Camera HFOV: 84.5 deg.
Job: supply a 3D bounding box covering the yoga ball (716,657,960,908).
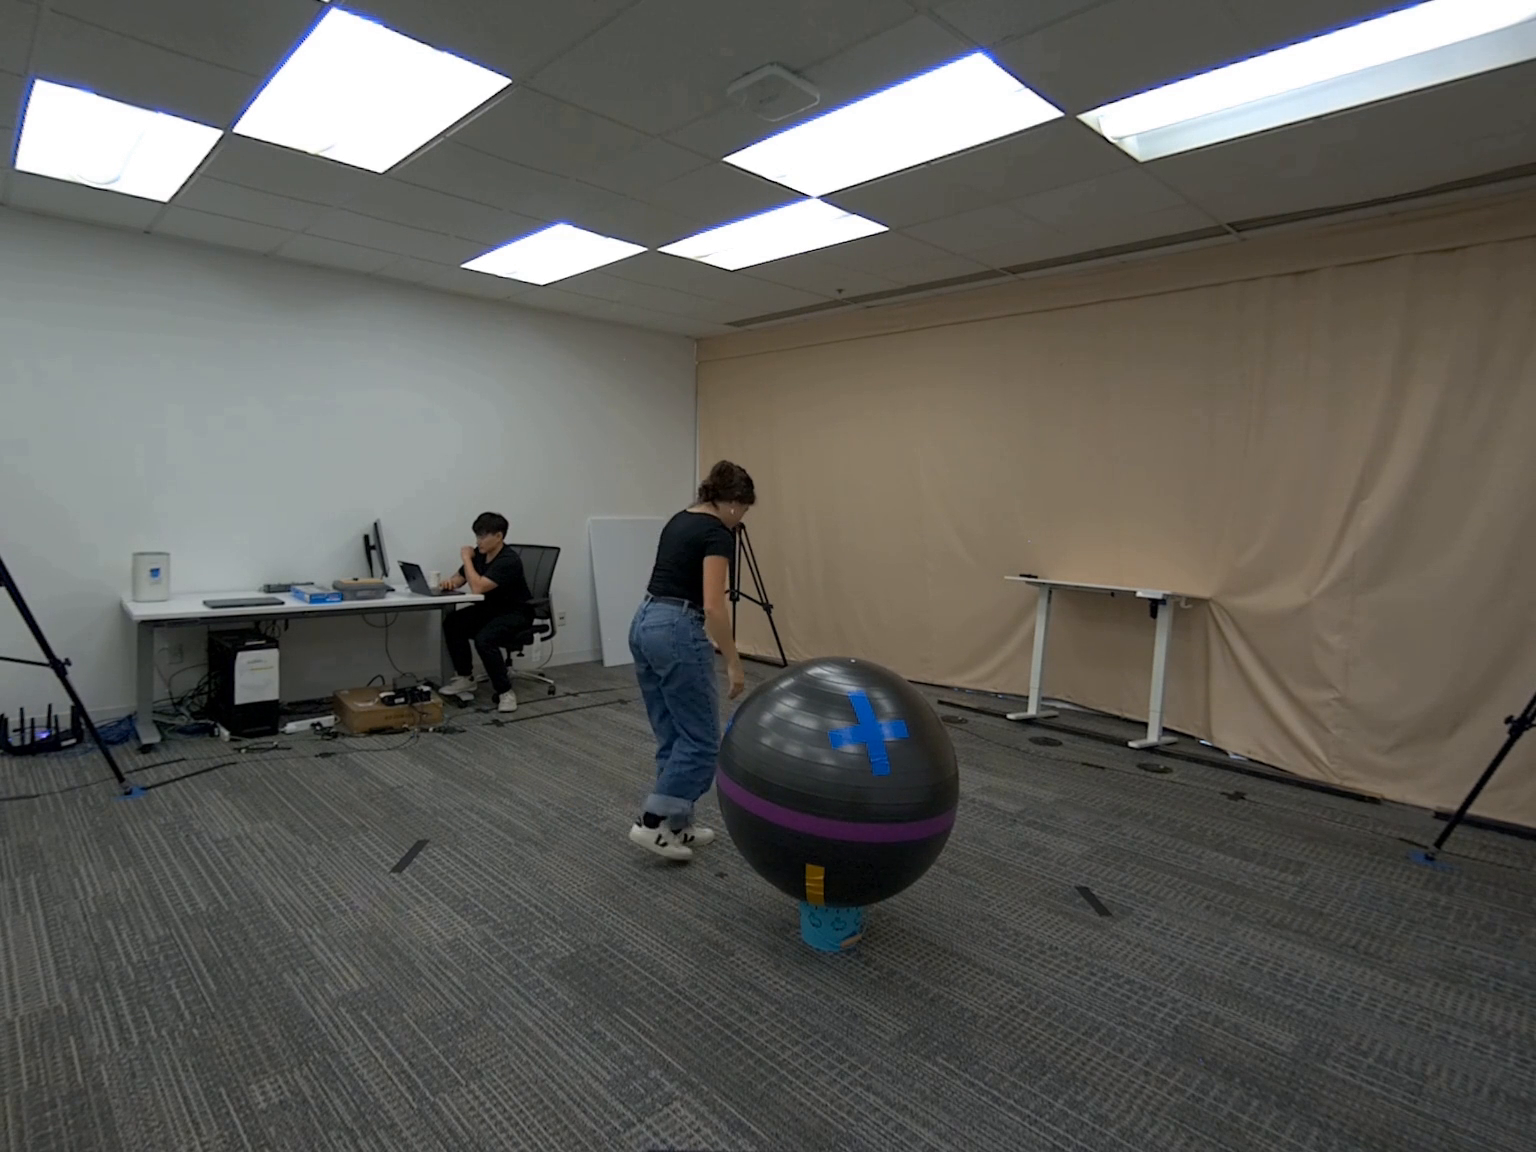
[{"bbox_3d":[0.213,0.639,2.658,0.757,0.756,0.761,1,4,-1],"label":"yoga ball"}]
